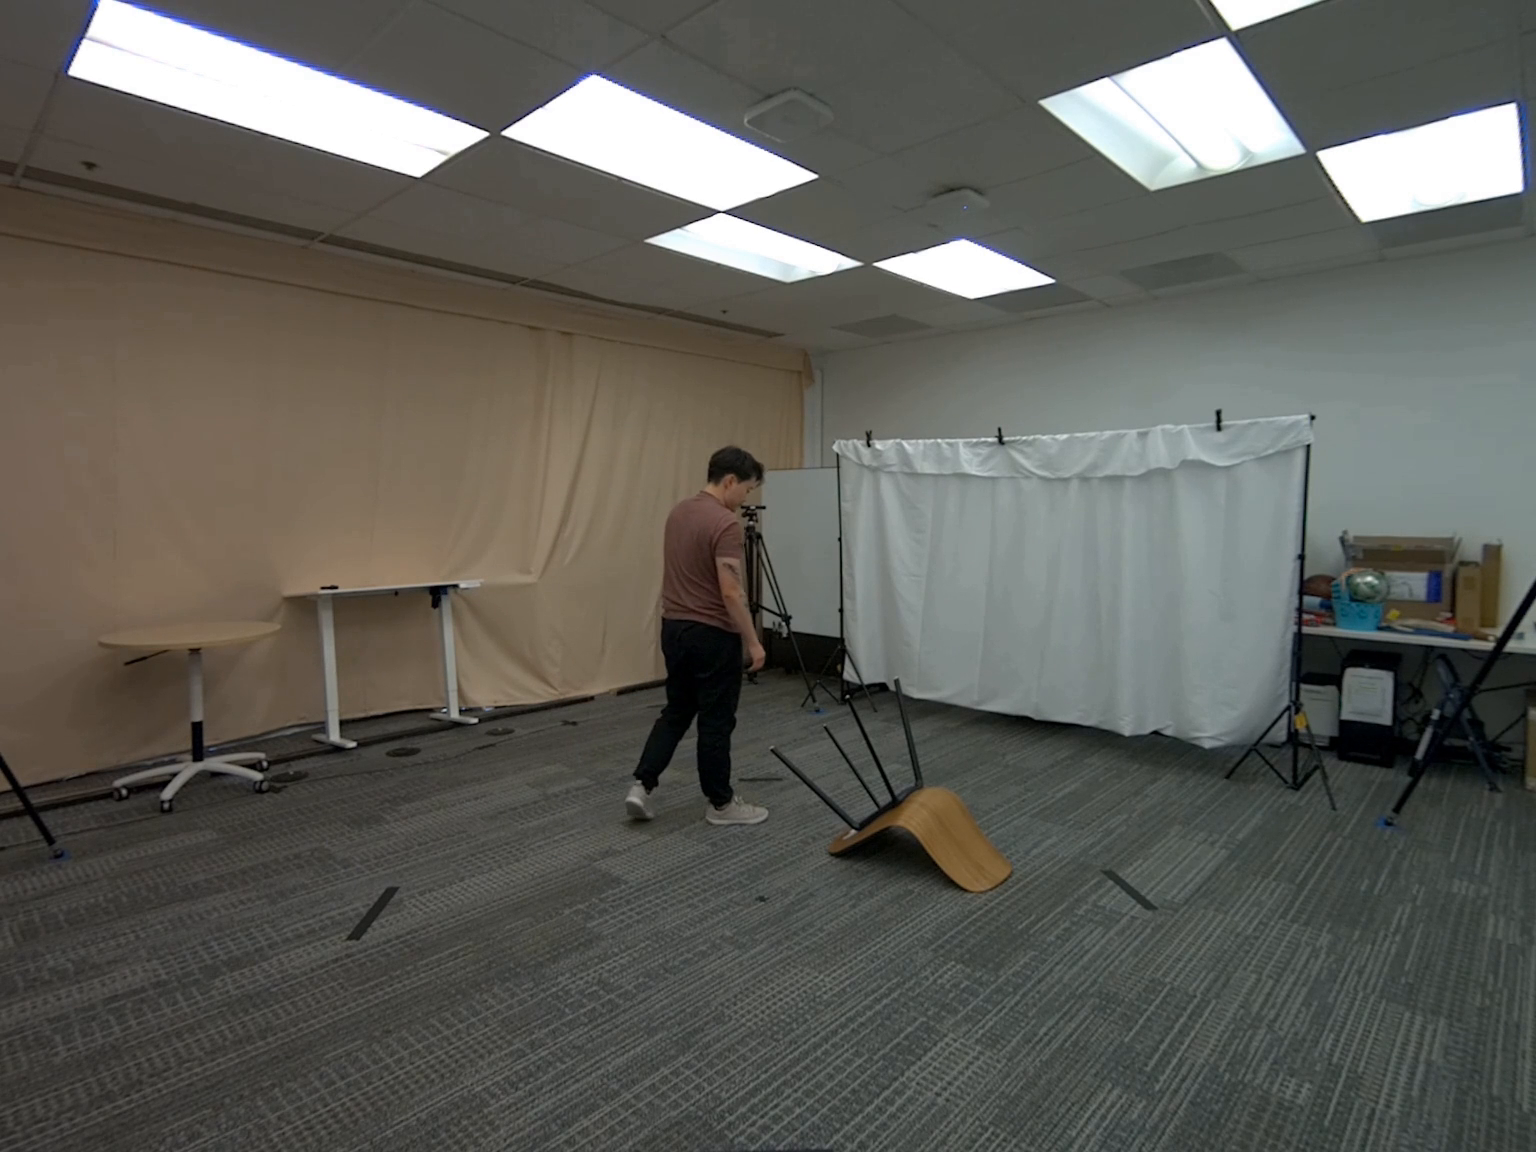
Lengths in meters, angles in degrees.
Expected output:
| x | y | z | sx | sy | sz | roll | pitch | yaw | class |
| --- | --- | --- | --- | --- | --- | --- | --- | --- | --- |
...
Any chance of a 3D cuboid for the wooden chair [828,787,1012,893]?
| x | y | z | sx | sy | sz | roll | pitch | yaw | class |
| --- | --- | --- | --- | --- | --- | --- | --- | --- | --- |
| 0.490 | 0.935 | 3.410 | 0.527 | 0.896 | 0.464 | -45 | -22 | 28 | wooden chair |
